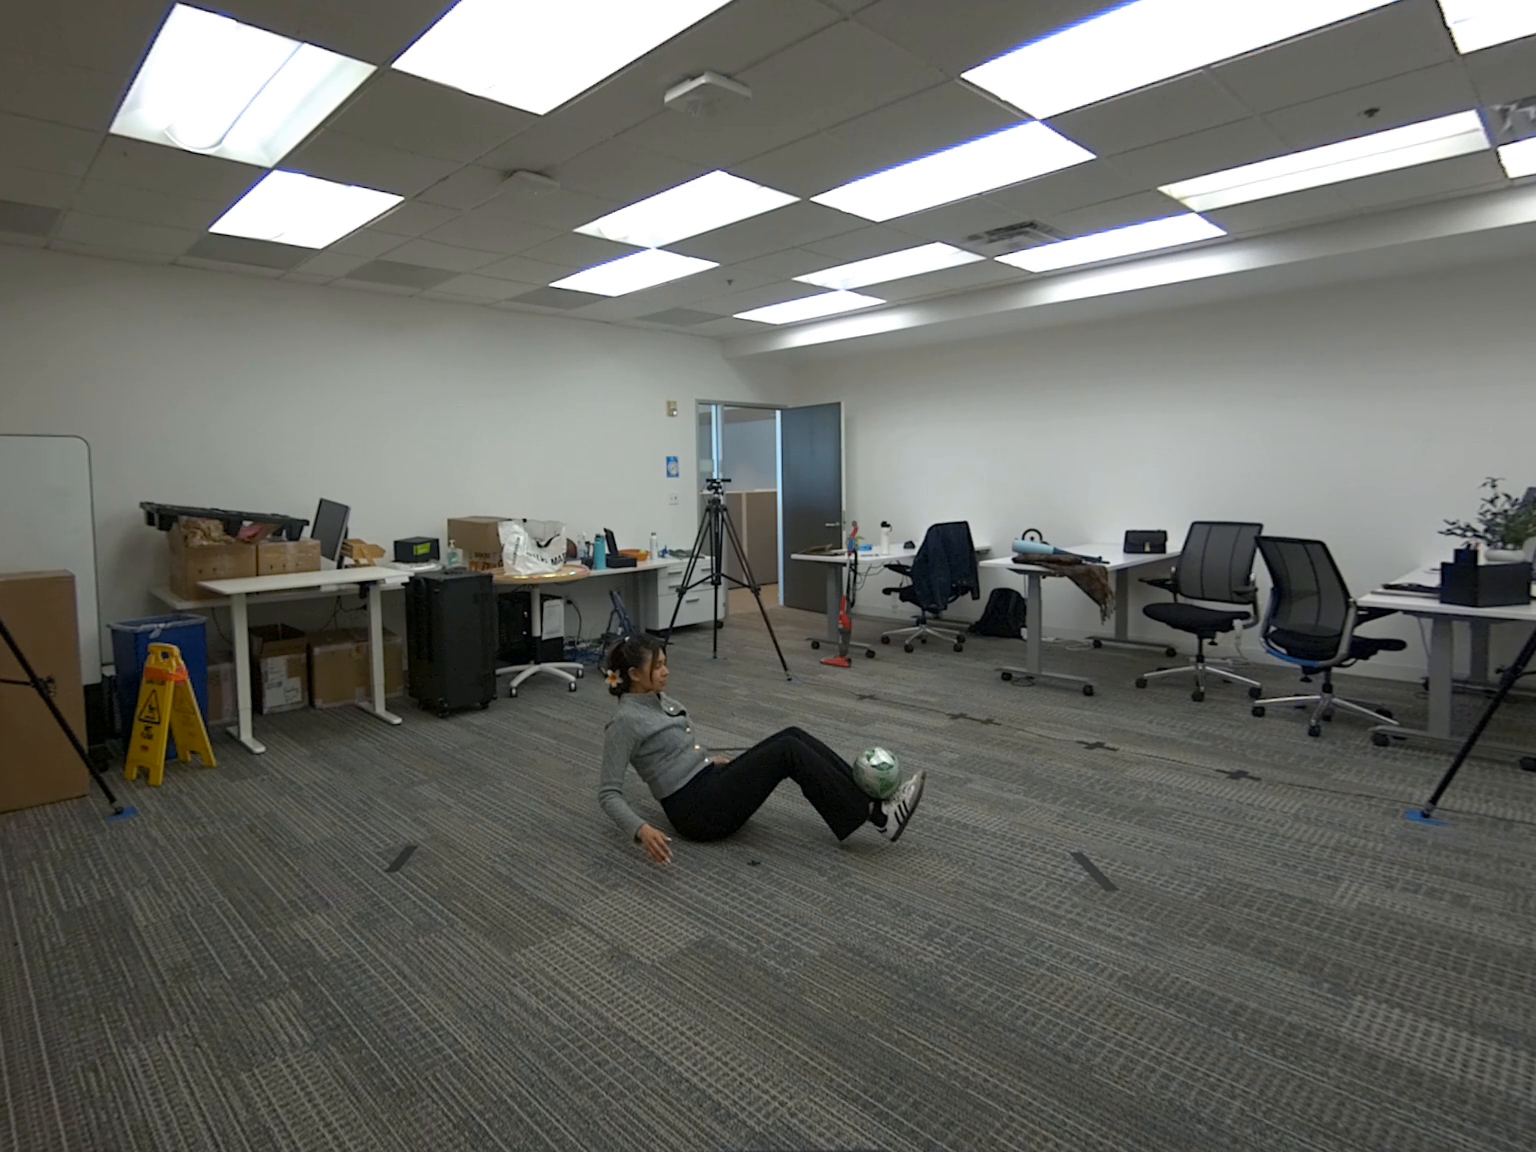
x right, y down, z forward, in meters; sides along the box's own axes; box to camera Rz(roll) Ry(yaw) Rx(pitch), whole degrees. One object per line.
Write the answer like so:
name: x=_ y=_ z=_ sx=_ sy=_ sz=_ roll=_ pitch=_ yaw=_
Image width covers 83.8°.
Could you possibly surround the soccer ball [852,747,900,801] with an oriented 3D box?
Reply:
soccer ball: x=0.409 y=0.727 z=3.205 sx=0.187 sy=0.187 sz=0.188 roll=-1 pitch=5 yaw=-2
